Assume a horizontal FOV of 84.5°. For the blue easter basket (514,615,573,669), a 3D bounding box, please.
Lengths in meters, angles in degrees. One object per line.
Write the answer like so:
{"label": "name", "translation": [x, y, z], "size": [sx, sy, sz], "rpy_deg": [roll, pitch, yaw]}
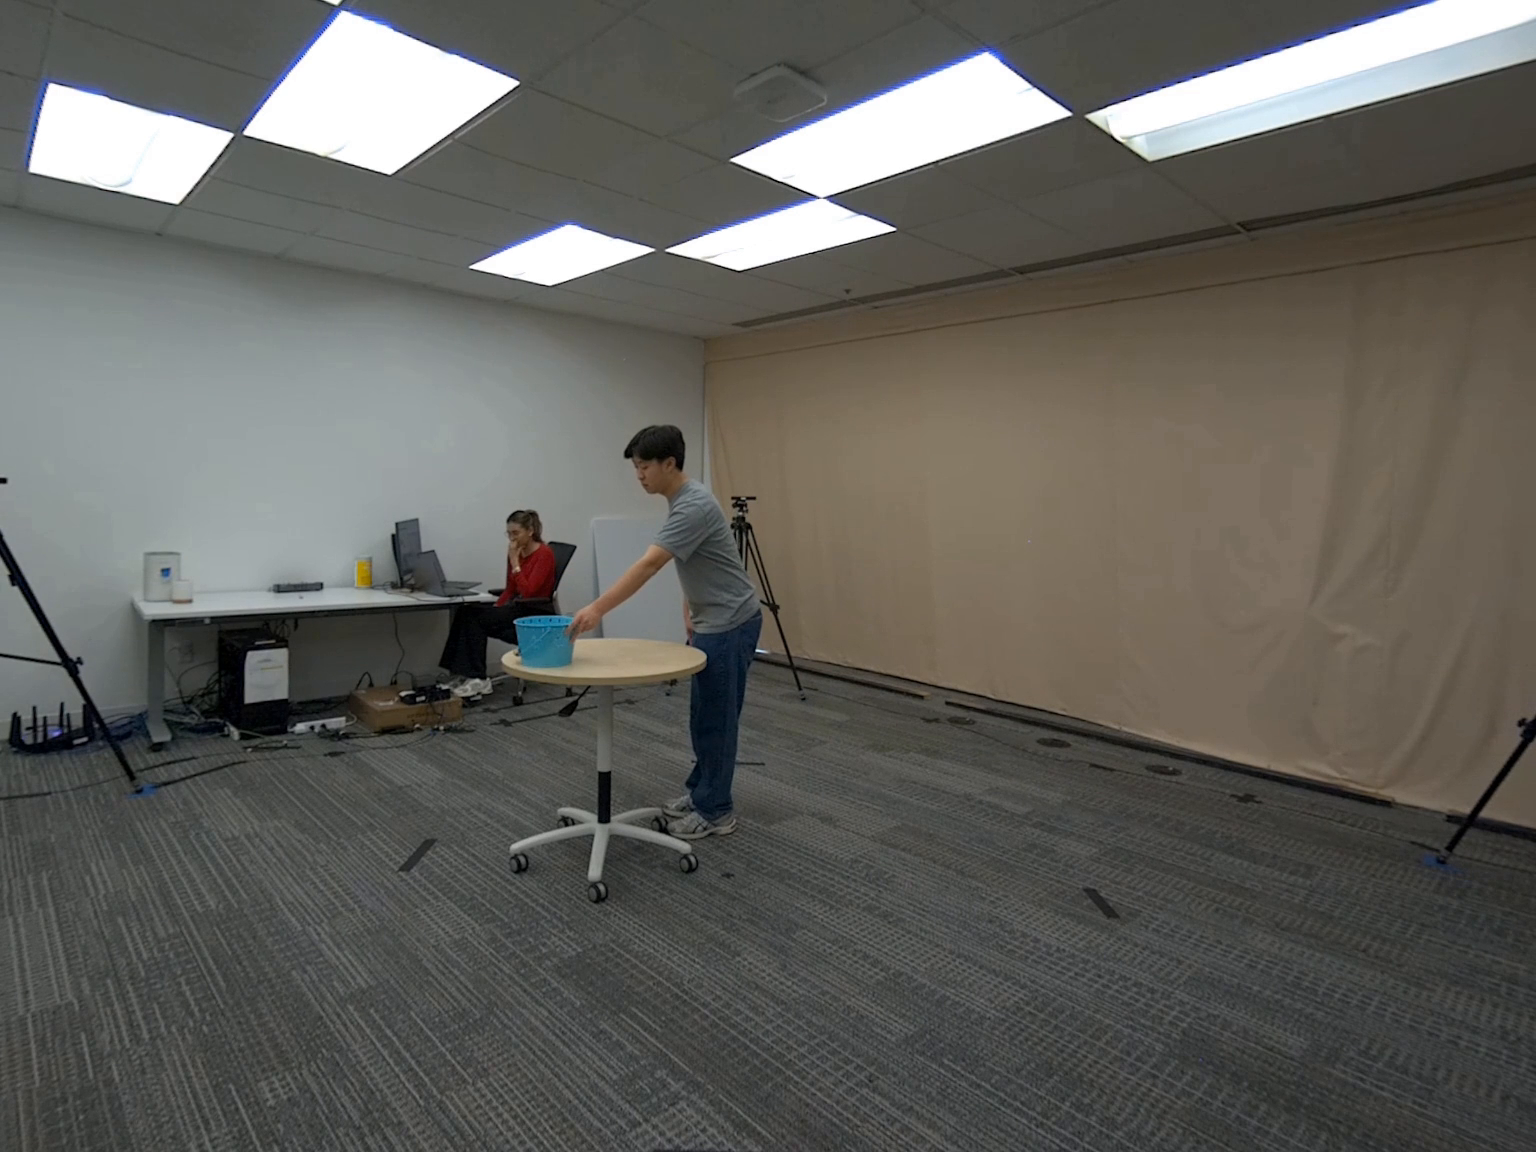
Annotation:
{"label": "blue easter basket", "translation": [-0.819, 0.242, 3.048], "size": [0.243, 0.155, 0.244], "rpy_deg": [0, 4, -1]}
